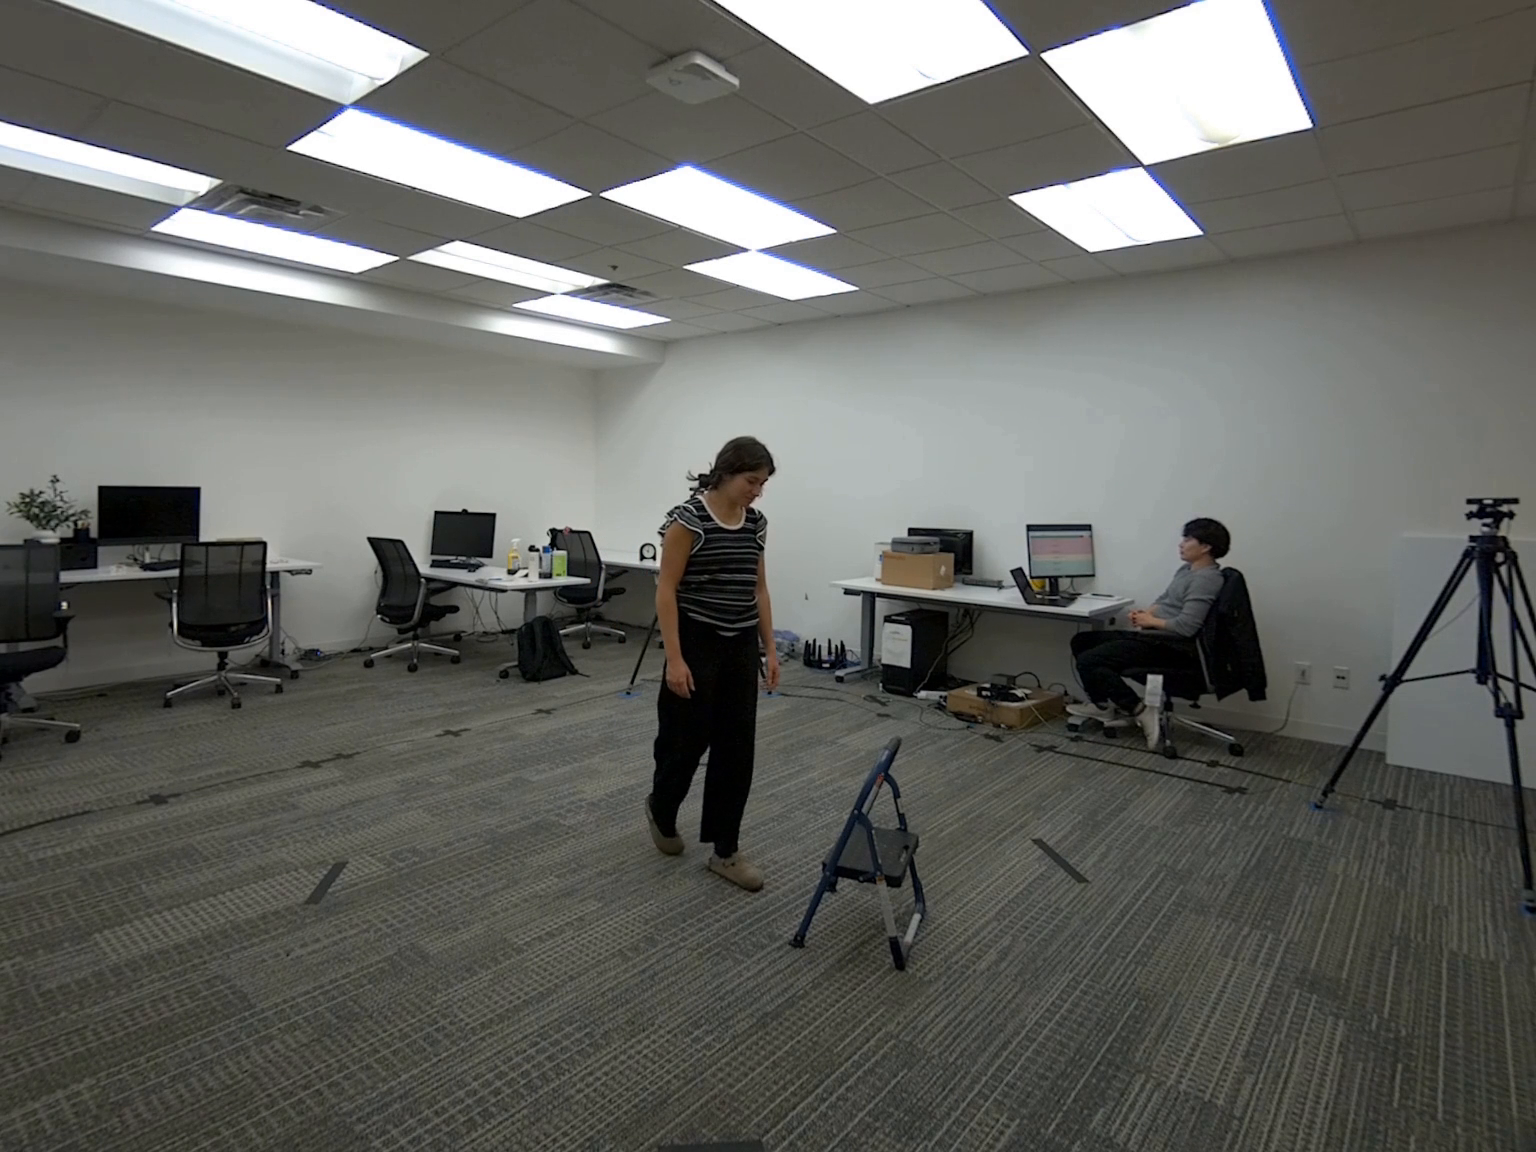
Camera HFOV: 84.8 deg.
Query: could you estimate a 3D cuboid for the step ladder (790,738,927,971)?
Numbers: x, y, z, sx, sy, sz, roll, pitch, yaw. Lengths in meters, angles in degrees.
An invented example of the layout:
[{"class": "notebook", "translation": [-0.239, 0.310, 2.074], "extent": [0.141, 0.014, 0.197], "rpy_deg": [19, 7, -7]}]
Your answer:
[{"class": "step ladder", "translation": [0.300, 0.817, 2.704], "extent": [0.357, 0.604, 0.423], "rpy_deg": [3, 4, 20]}]
